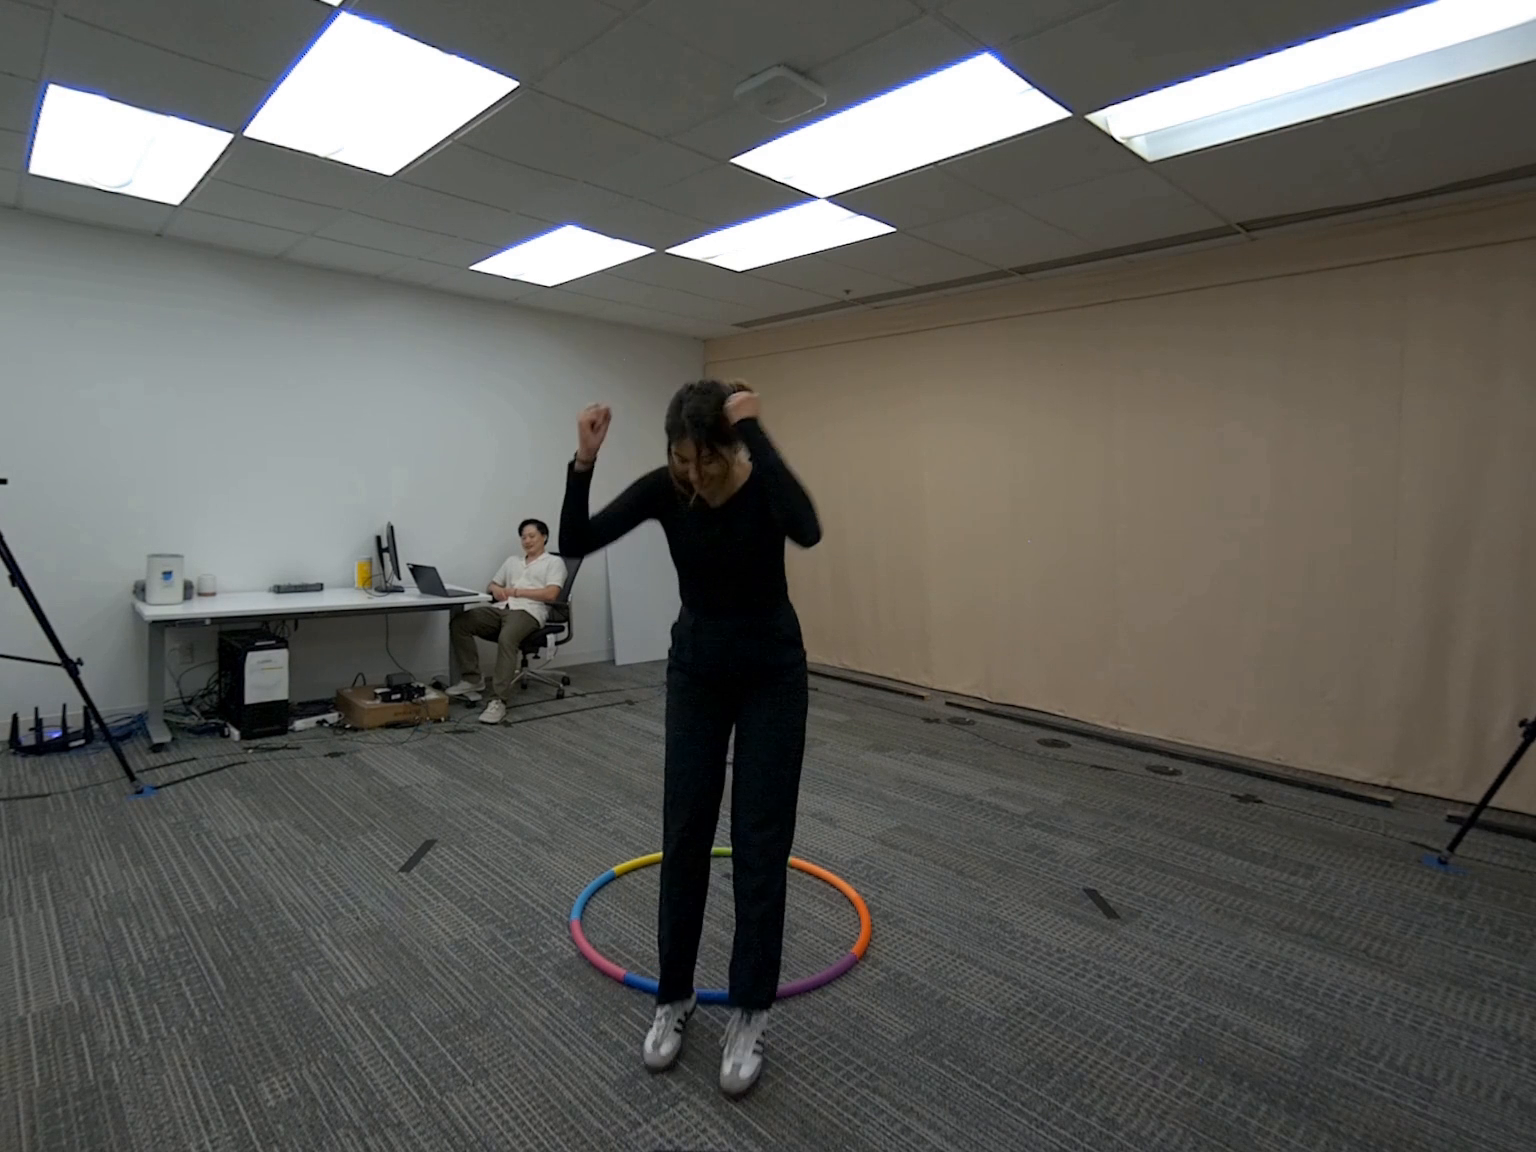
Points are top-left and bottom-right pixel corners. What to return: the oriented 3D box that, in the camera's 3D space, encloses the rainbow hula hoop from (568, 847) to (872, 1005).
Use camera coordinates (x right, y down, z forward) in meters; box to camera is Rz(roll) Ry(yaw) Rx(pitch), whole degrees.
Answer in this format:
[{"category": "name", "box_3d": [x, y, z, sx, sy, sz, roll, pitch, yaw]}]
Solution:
[{"category": "rainbow hula hoop", "box_3d": [-0.164, 1.106, 2.799, 0.978, 0.035, 0.982, 1, 5, -1]}]
